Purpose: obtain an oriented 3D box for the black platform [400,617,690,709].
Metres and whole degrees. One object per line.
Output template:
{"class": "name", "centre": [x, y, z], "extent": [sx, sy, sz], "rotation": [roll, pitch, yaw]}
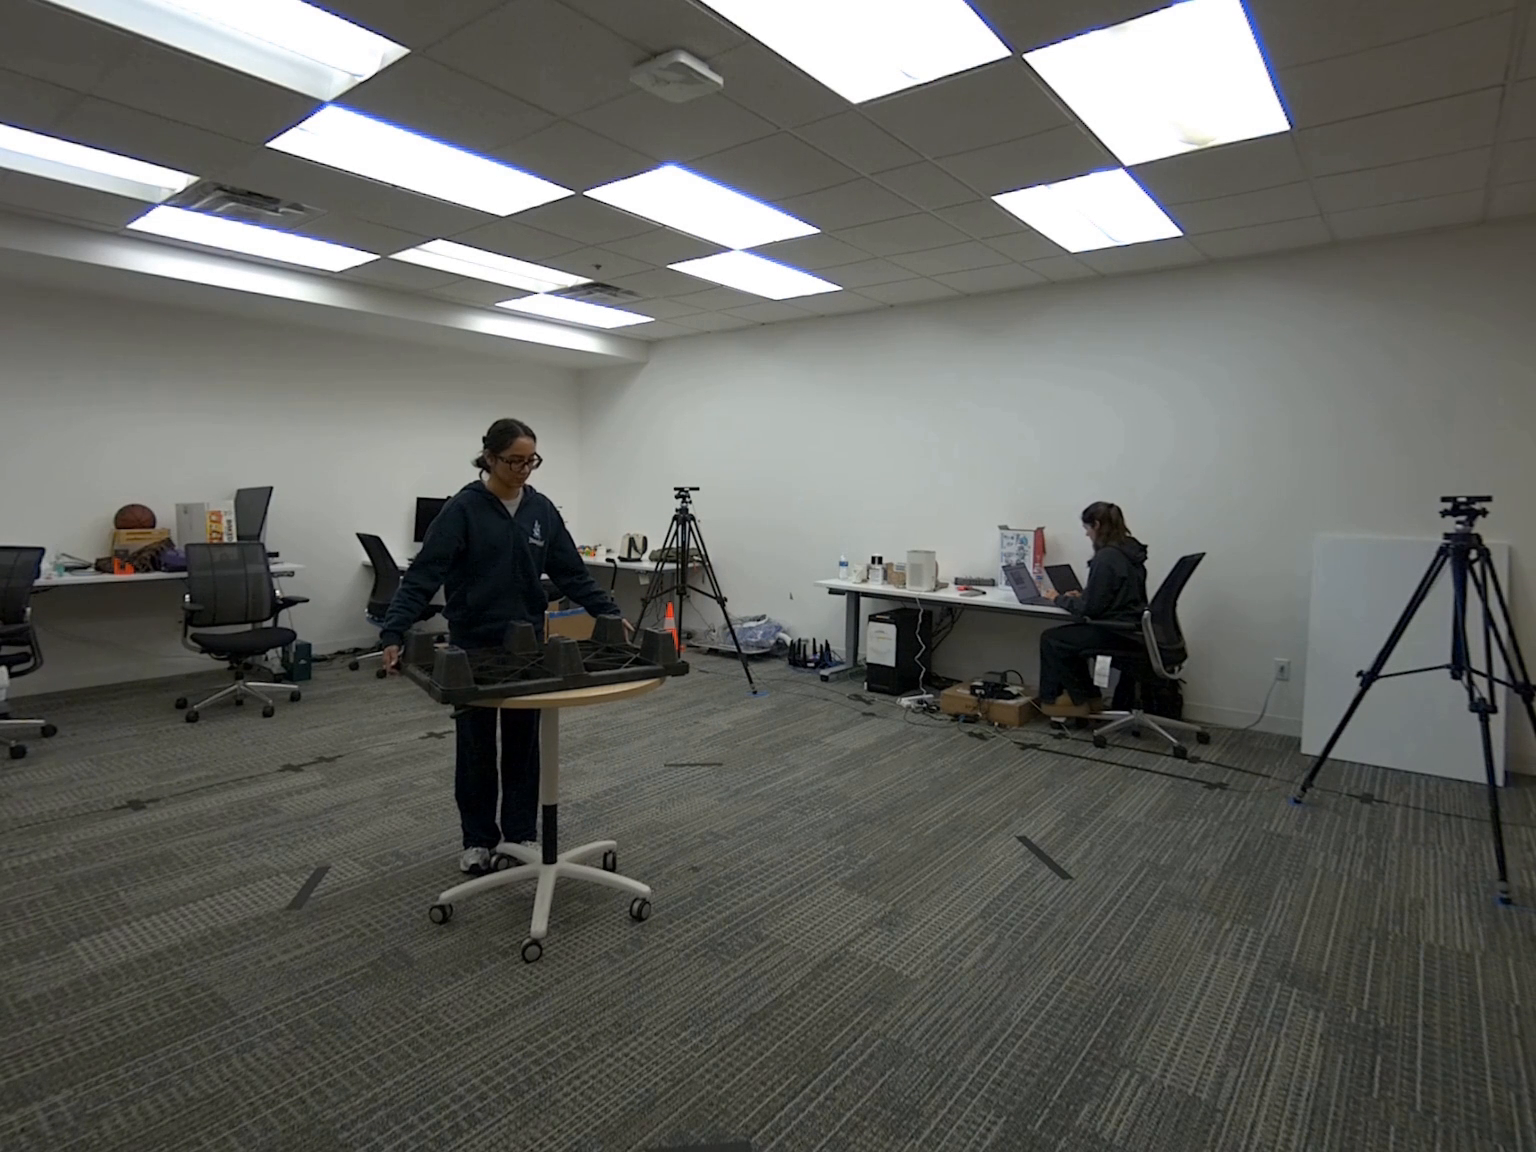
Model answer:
{"class": "black platform", "centre": [-0.751, 0.247, 2.779], "extent": [0.783, 0.143, 0.624], "rotation": [-3, 5, -34]}
